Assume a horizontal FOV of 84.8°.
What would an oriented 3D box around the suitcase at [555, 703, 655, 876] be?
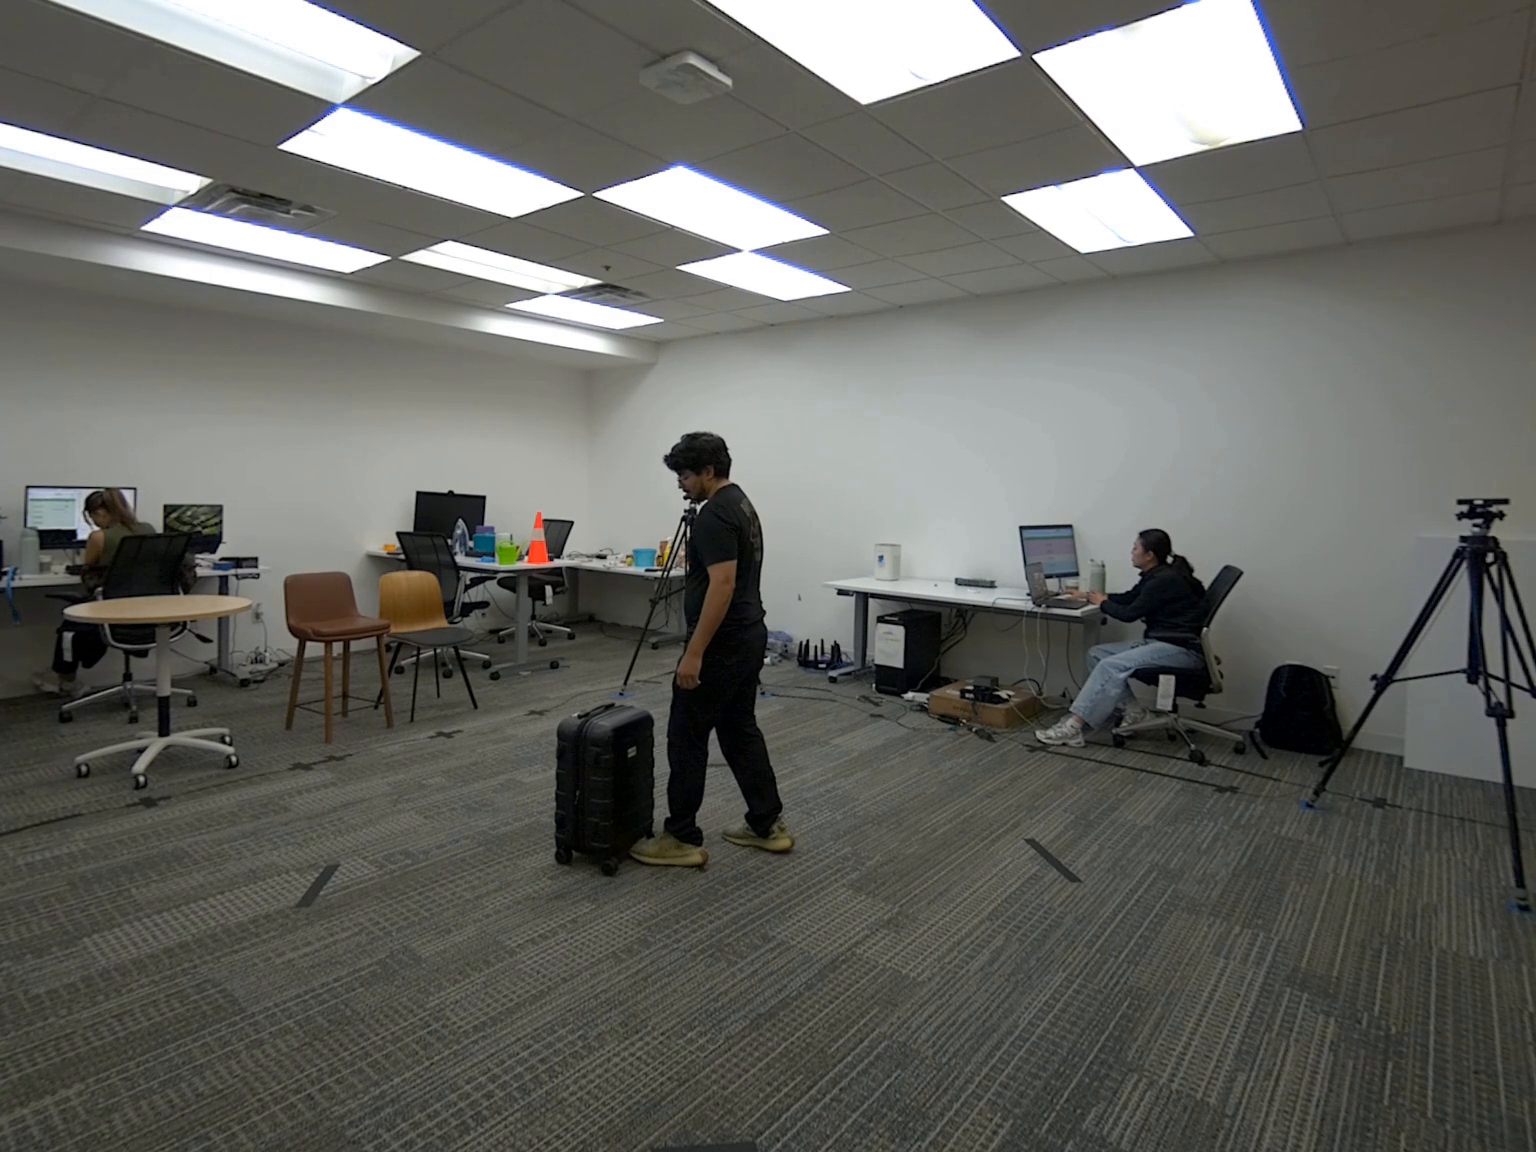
[{"bbox_3d":[-0.618,0.773,3.226,0.255,0.549,0.366,1,2,26],"label":"suitcase"}]
